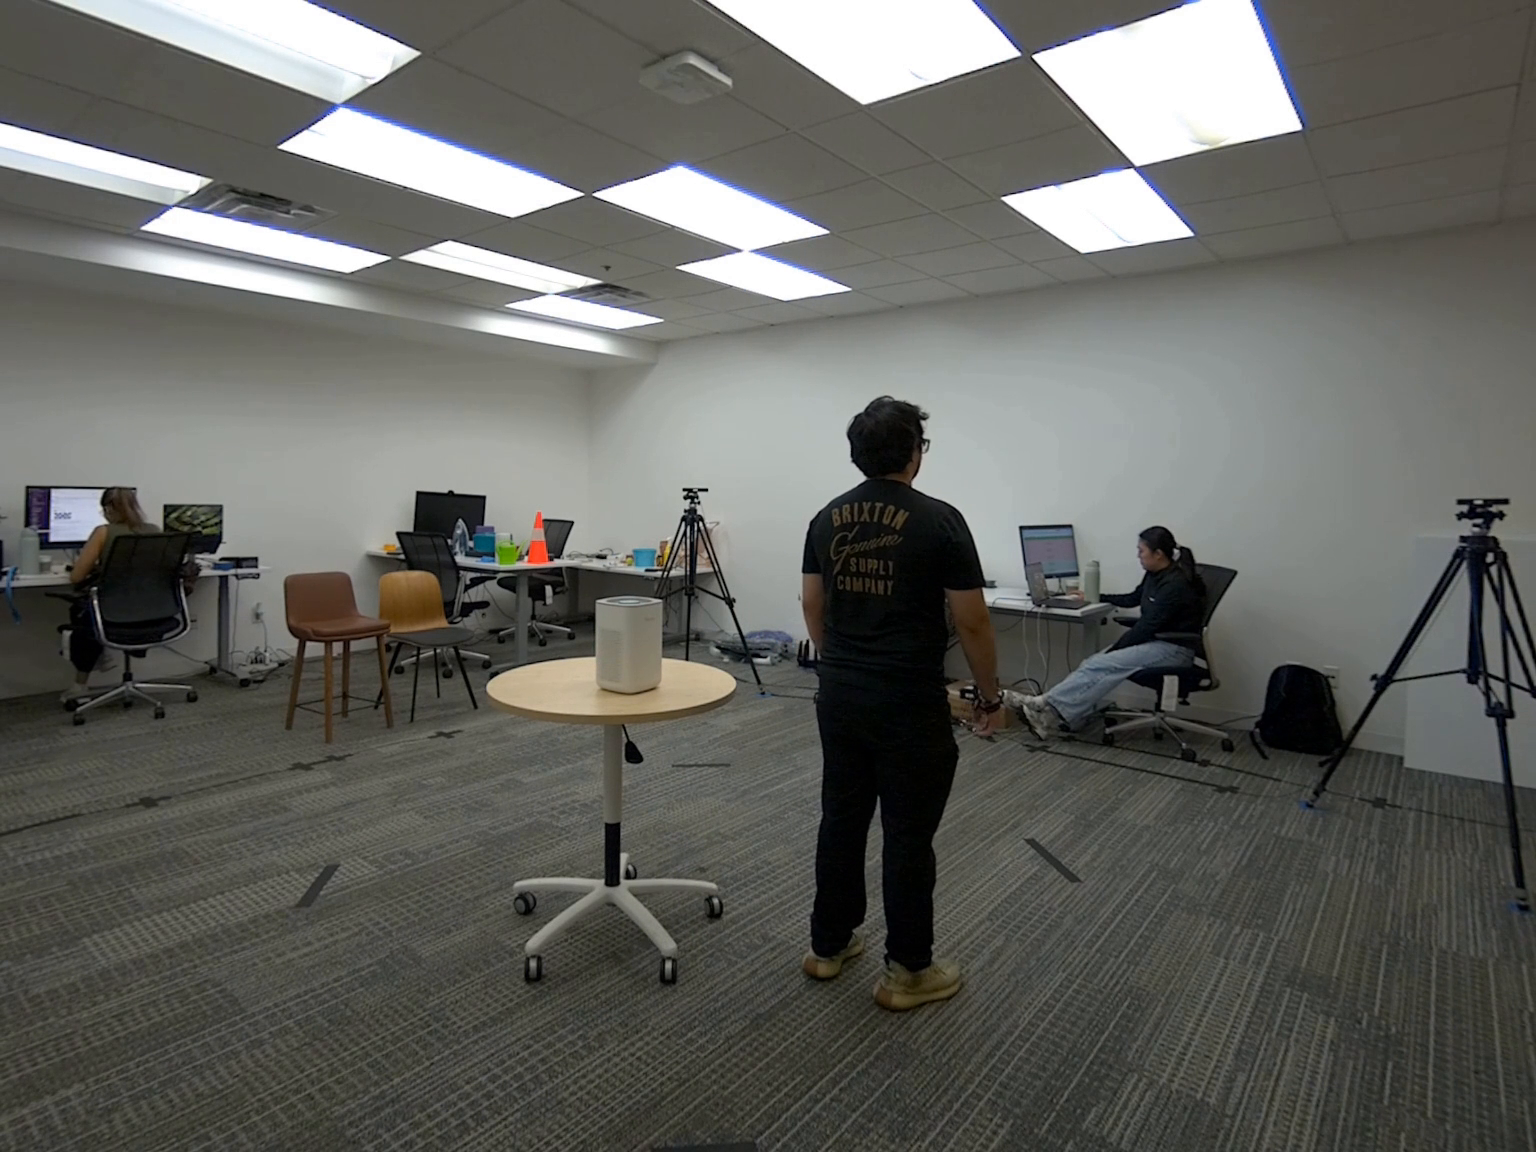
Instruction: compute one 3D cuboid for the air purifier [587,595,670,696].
[{"bbox_3d":[-0.425,0.202,2.562,0.179,0.261,0.164,1,5,33],"label":"air purifier"}]
